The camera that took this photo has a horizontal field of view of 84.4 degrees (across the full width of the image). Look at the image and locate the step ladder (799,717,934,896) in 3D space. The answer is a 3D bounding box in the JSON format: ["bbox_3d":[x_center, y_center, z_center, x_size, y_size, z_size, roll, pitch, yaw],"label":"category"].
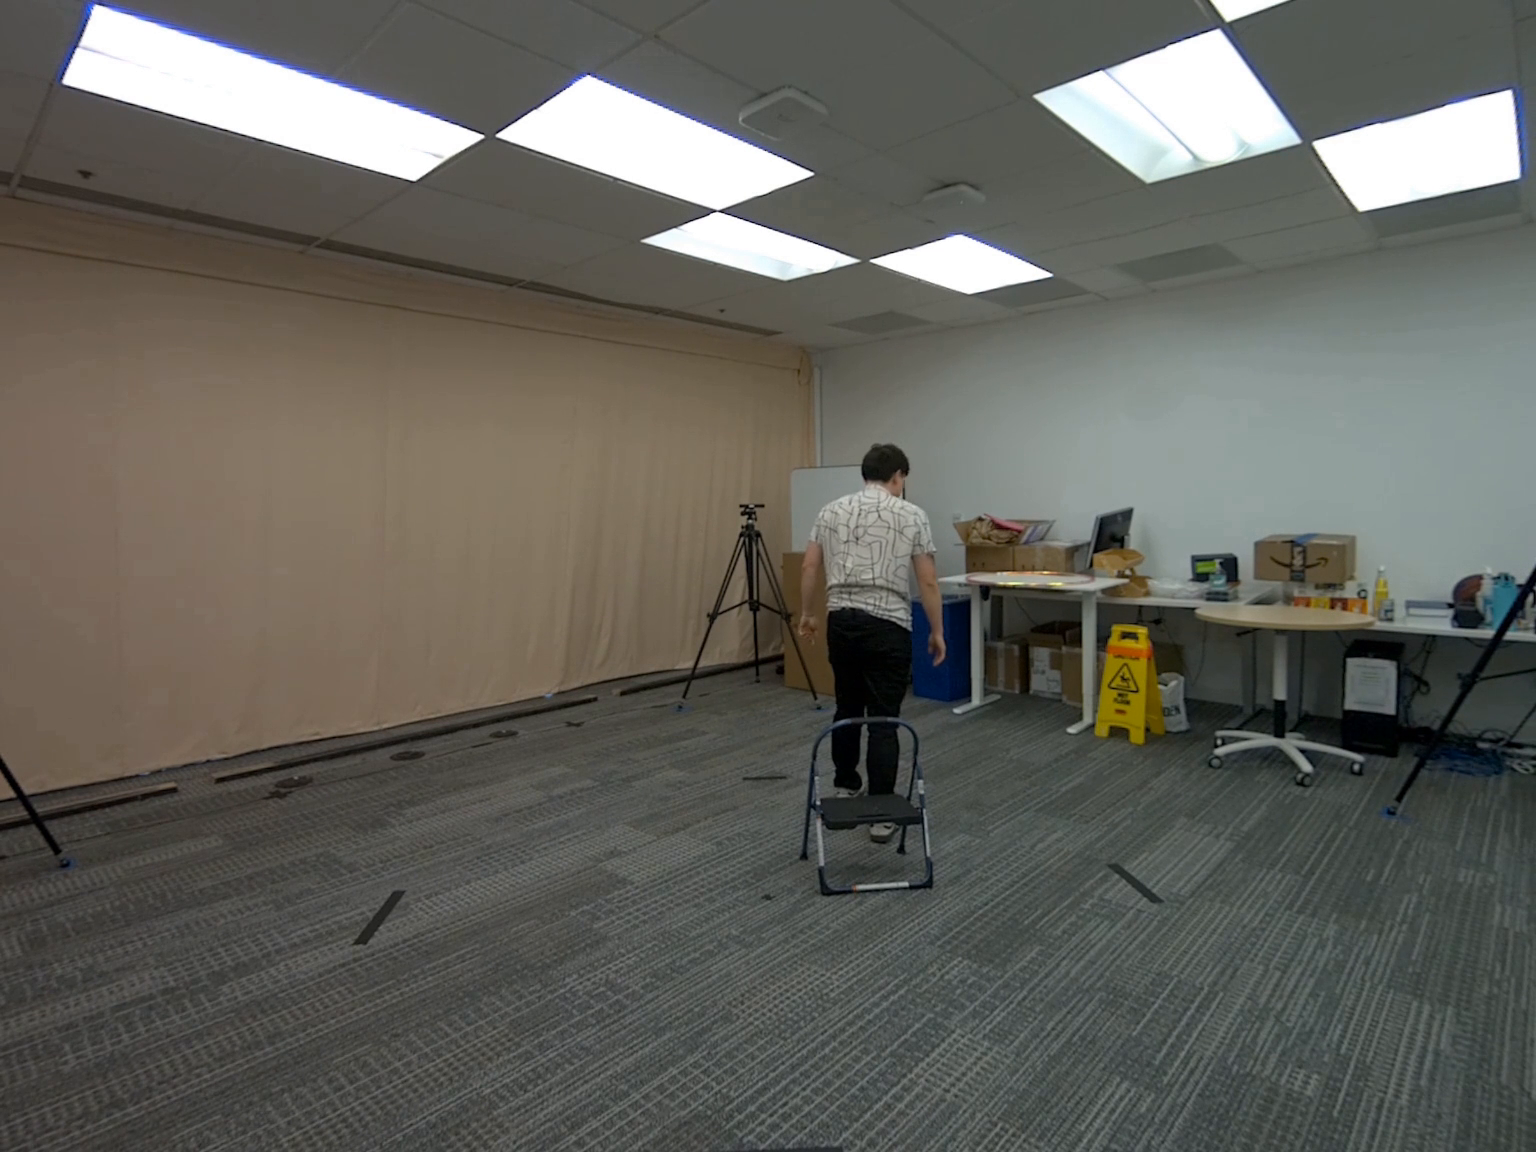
[{"bbox_3d":[0.358,0.821,3.147,0.427,0.604,0.353,-1,4,-7],"label":"step ladder"}]
